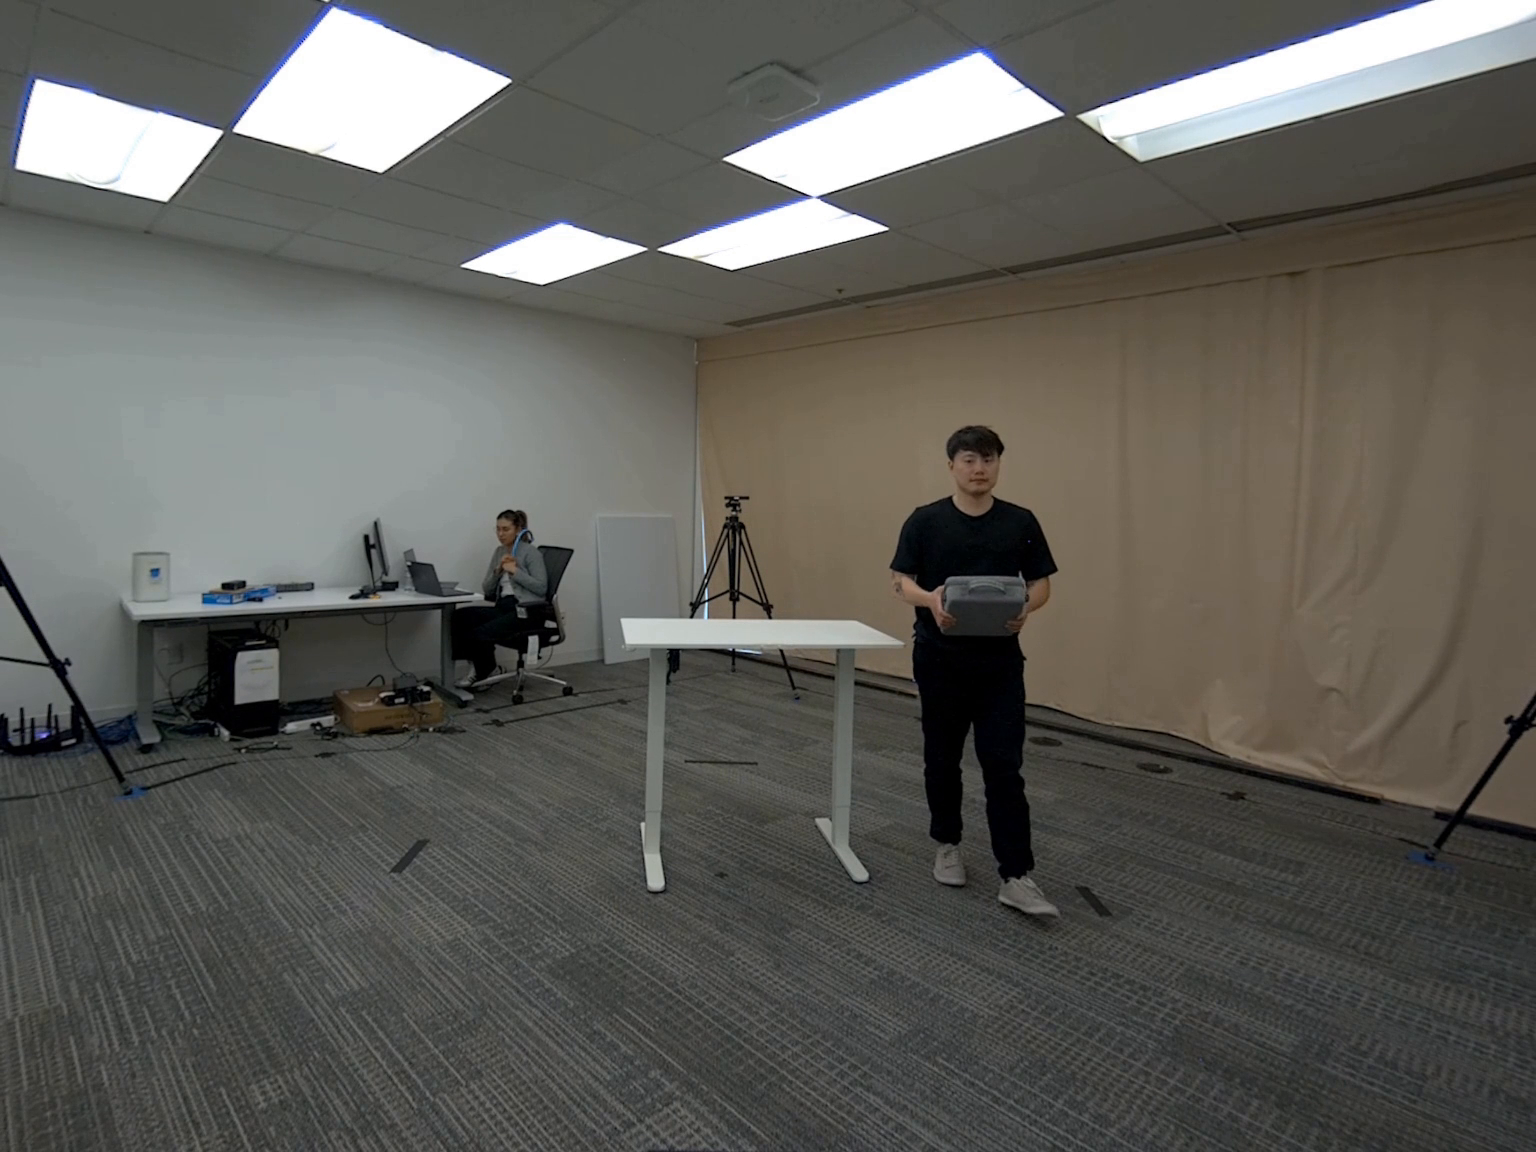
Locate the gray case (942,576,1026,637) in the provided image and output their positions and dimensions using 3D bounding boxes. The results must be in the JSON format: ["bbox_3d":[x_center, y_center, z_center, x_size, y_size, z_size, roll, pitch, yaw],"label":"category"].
[{"bbox_3d":[0.715,0.098,2.810,0.258,0.106,0.254,0,-32,7],"label":"gray case"}]
